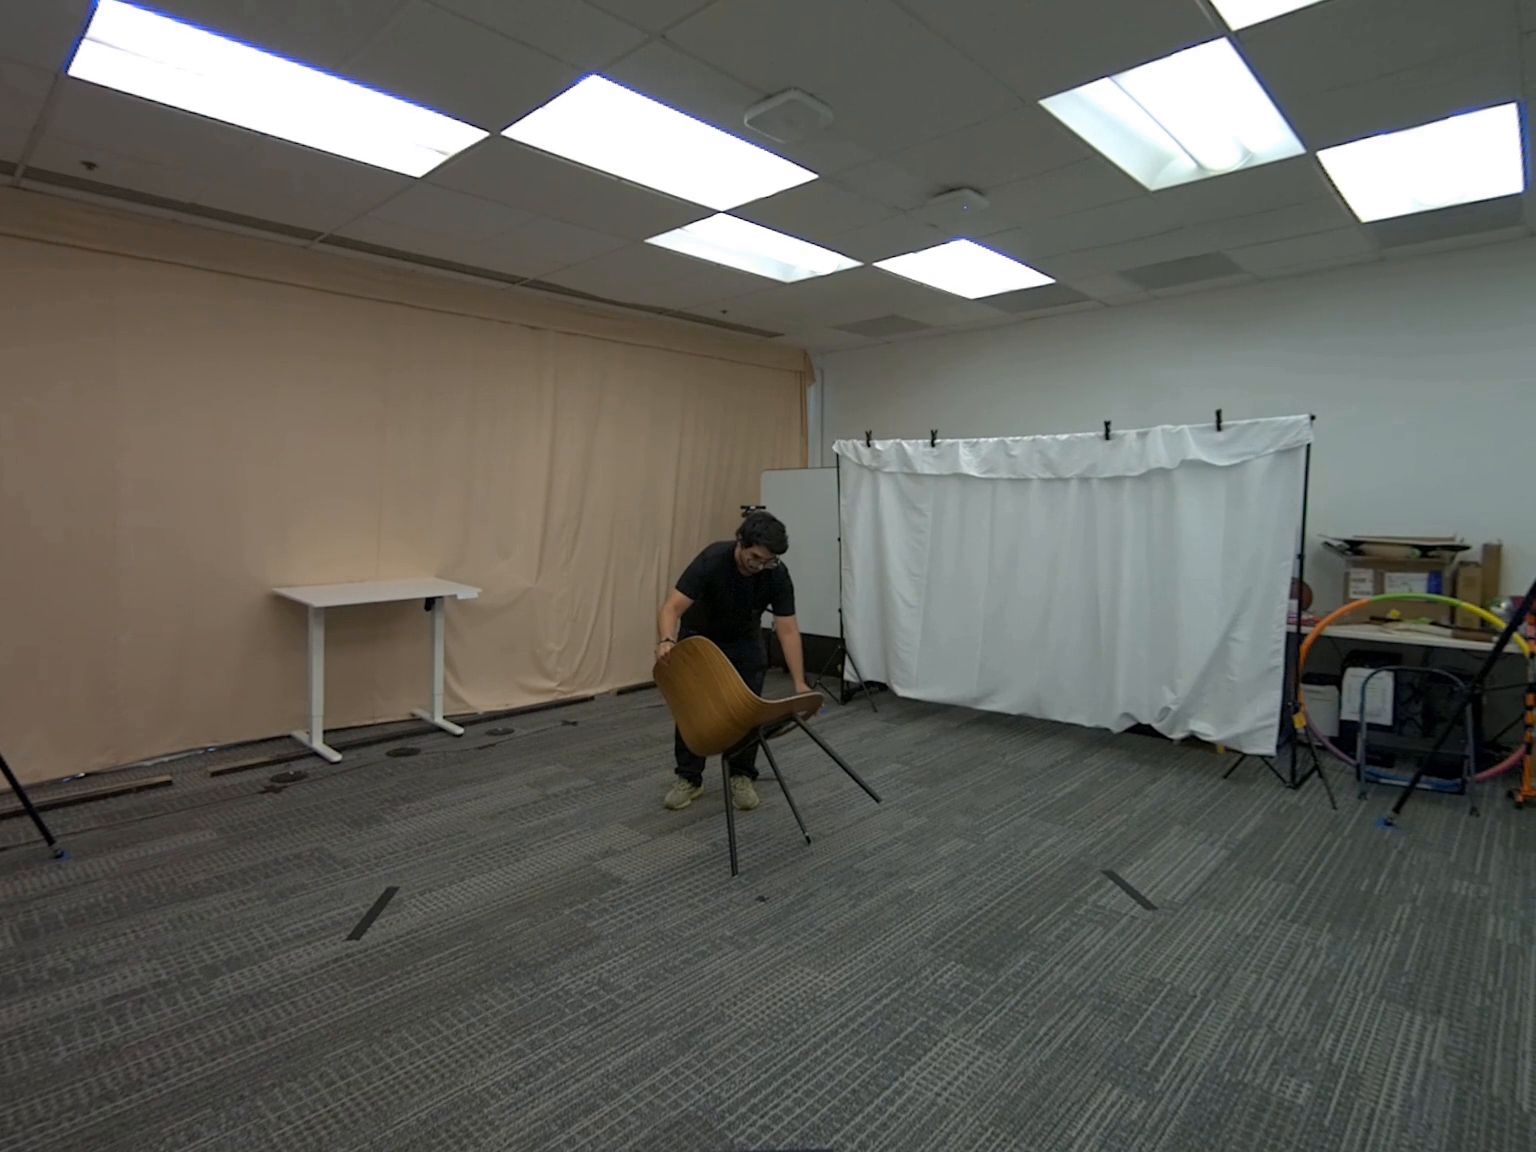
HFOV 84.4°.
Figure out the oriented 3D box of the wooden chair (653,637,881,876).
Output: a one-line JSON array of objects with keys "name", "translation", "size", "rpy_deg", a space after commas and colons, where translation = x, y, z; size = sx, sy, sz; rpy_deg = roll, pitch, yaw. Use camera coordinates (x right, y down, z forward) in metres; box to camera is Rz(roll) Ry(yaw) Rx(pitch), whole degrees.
[{"name": "wooden chair", "translation": [-0.026, 0.637, 3.343], "size": [0.508, 0.895, 0.482], "rpy_deg": [-9, -29, -48]}]
